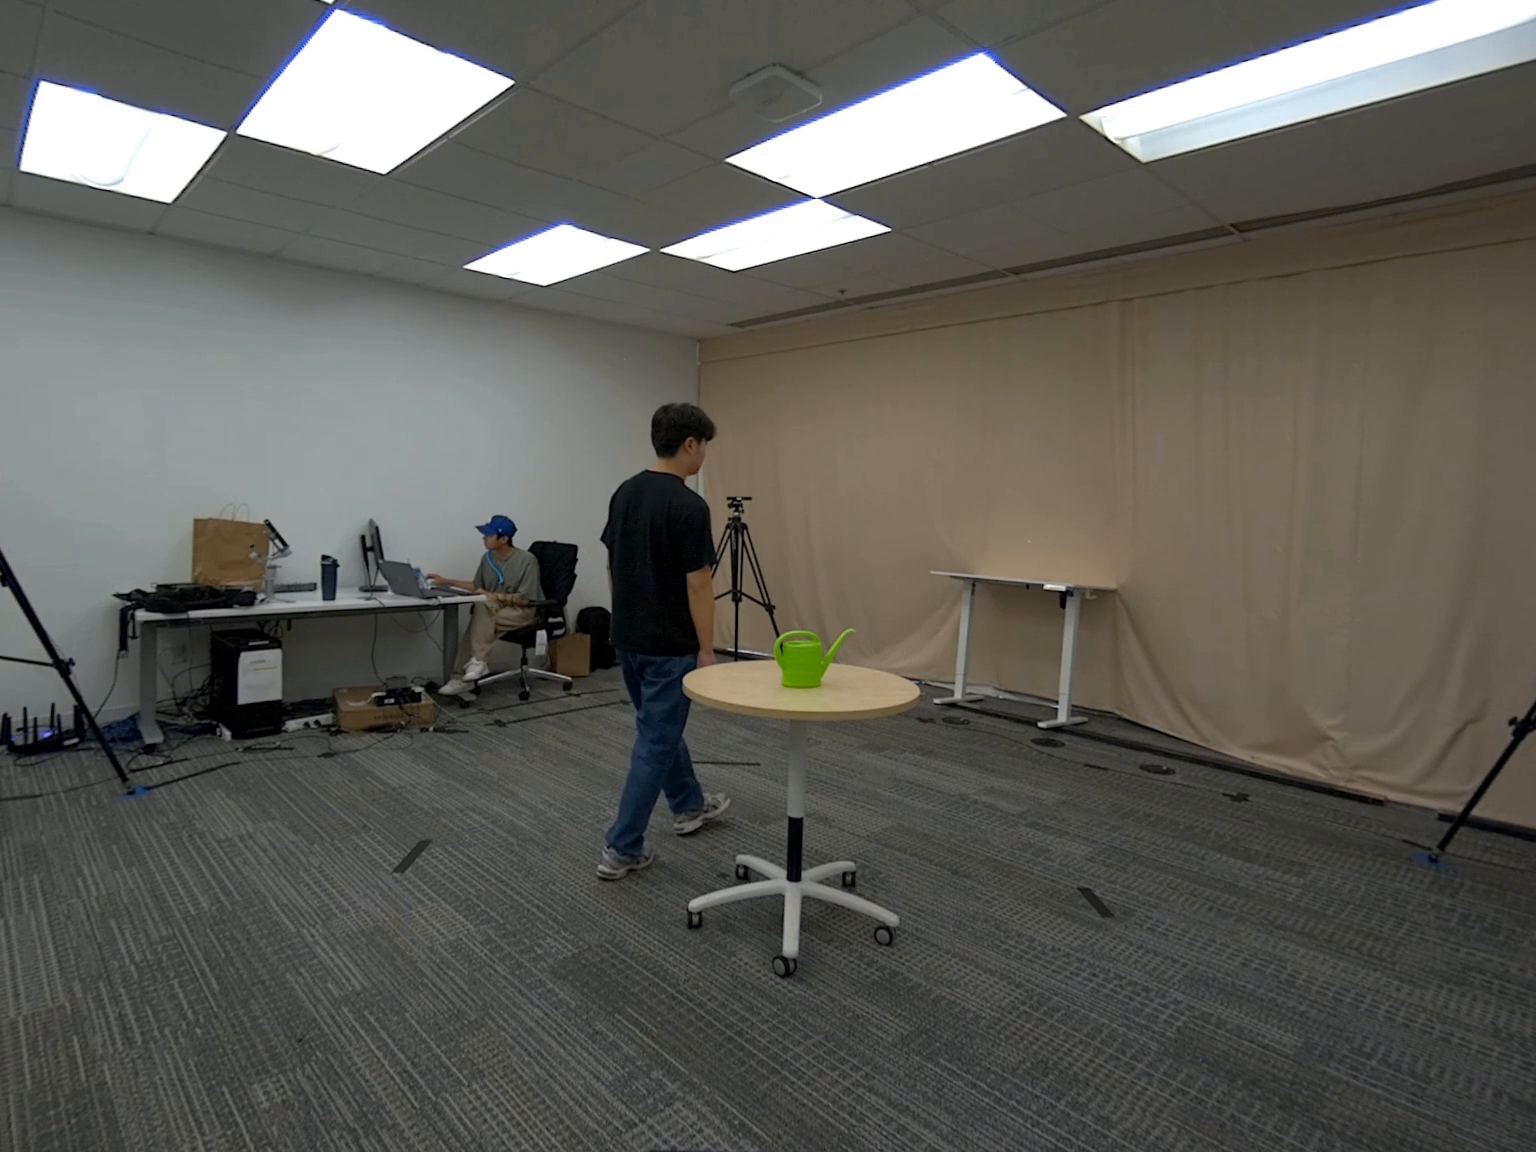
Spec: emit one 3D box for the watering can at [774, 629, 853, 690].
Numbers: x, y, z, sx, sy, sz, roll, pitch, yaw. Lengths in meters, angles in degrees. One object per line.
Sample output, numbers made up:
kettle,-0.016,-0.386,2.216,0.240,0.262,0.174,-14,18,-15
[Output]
watering can,0.151,0.267,2.698,0.278,0.176,0.098,1,3,-1
